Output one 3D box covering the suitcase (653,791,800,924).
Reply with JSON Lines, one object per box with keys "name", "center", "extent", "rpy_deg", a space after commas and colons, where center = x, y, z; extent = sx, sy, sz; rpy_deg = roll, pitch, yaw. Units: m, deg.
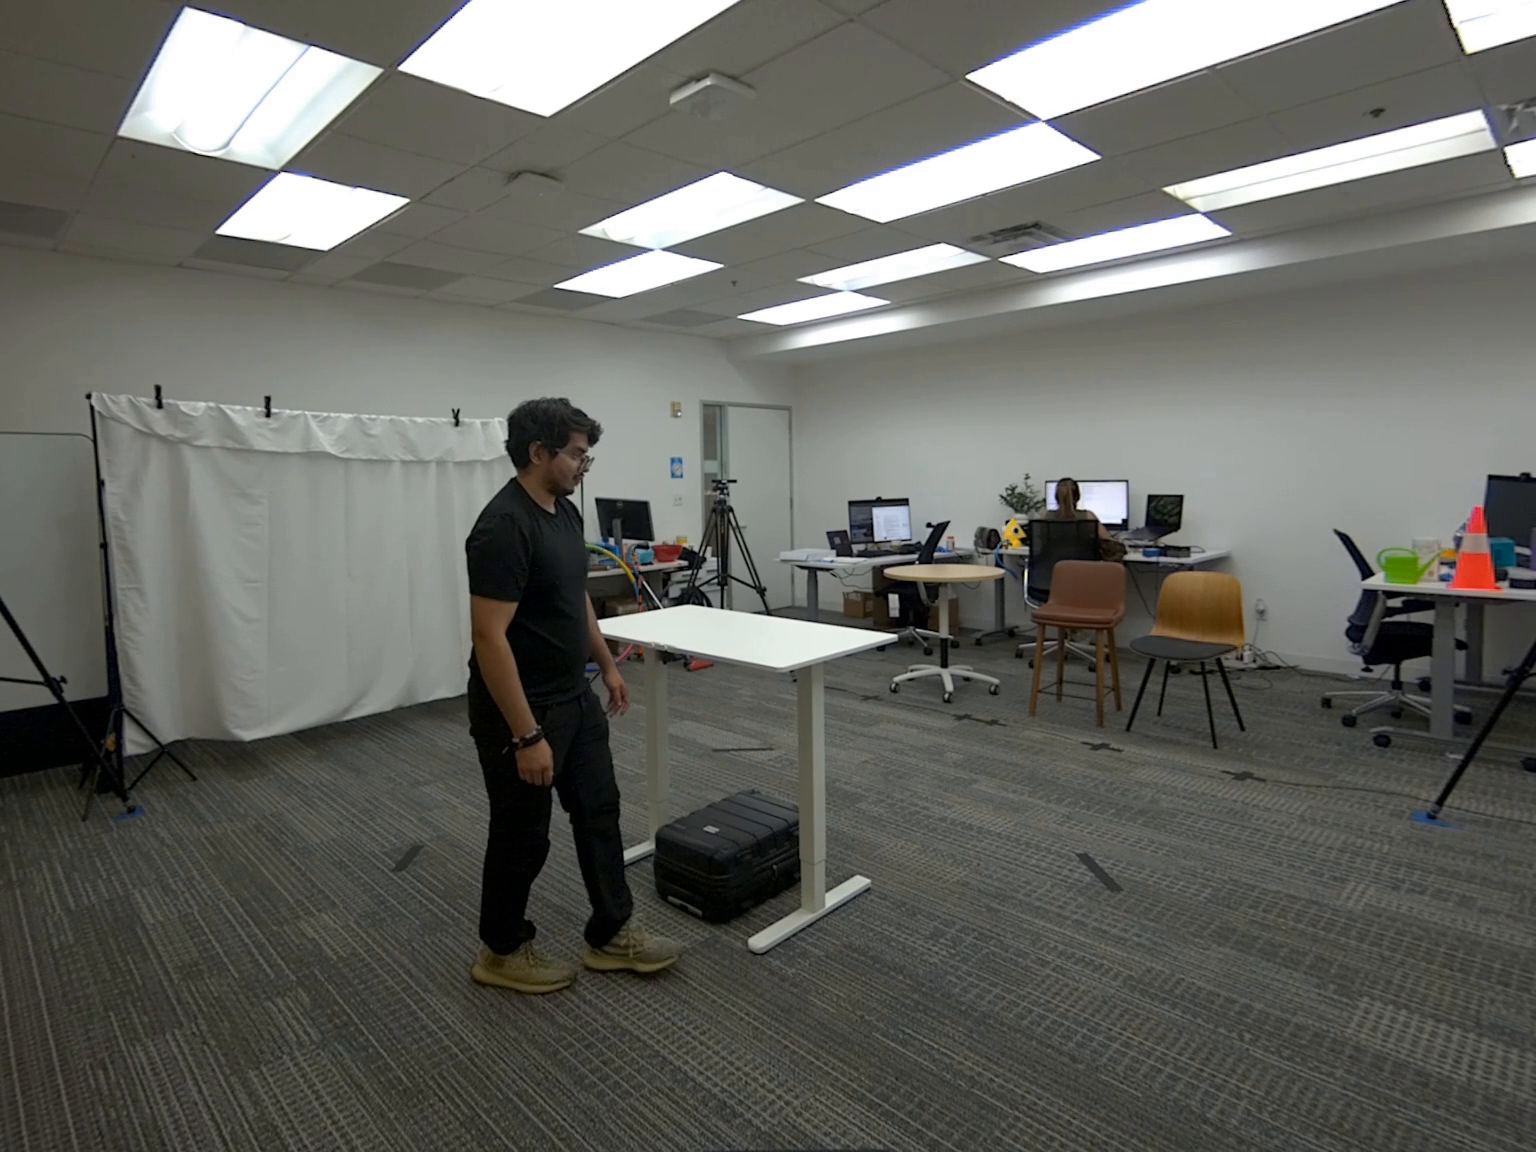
{"name": "suitcase", "center": [-0.108, 0.949, 2.947], "extent": [0.387, 0.247, 0.535], "rpy_deg": [5, 8, 42]}
